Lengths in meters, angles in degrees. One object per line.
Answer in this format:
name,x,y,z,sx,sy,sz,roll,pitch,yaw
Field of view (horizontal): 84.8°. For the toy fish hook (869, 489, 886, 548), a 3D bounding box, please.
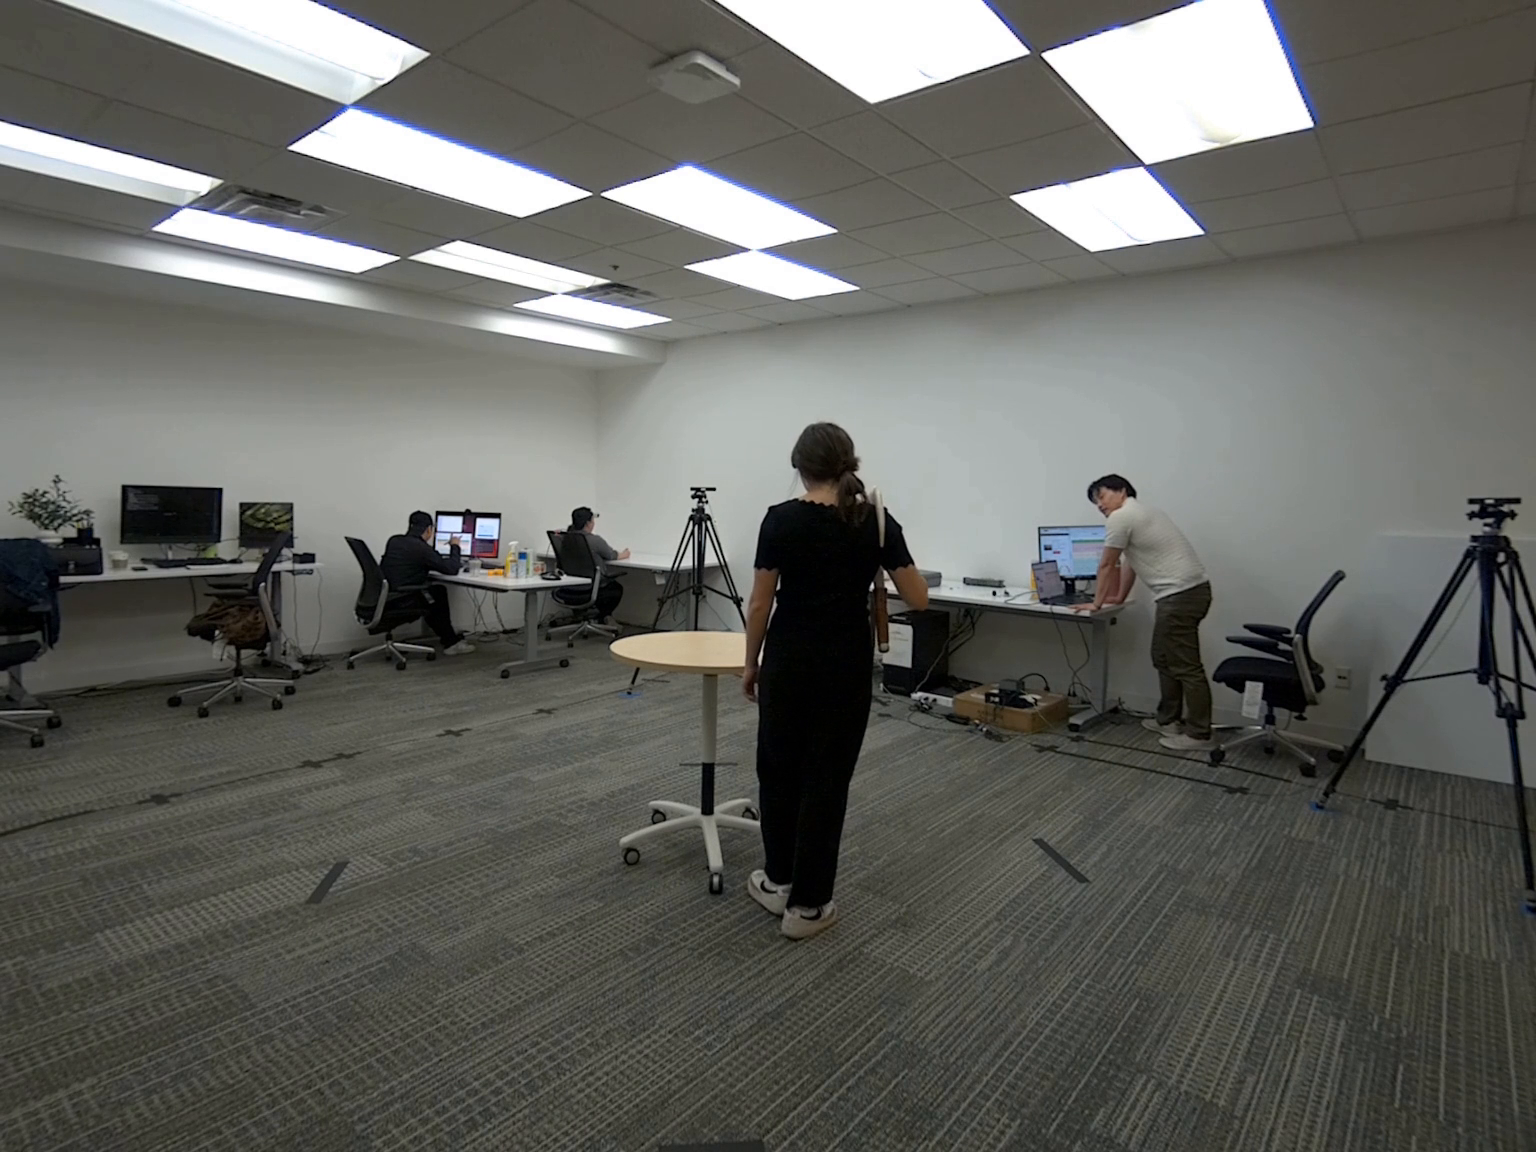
toy fish hook,0.334,-0.017,2.614,0.048,0.512,0.221,-4,-10,2
